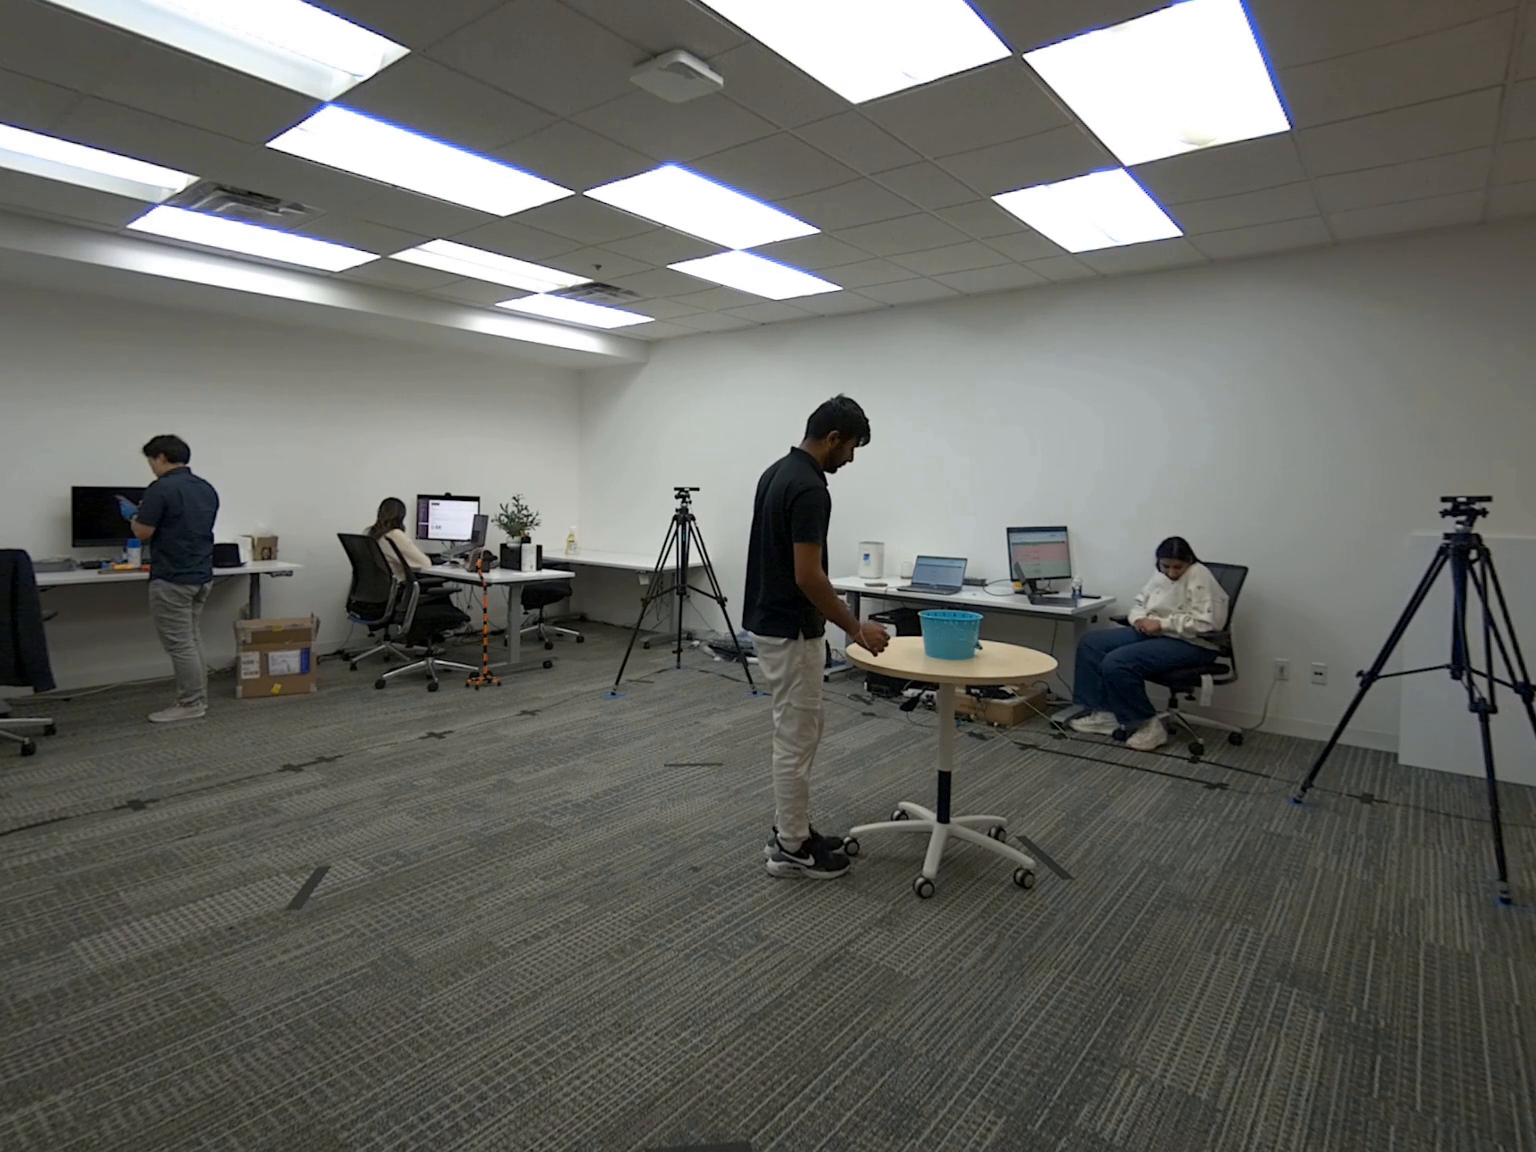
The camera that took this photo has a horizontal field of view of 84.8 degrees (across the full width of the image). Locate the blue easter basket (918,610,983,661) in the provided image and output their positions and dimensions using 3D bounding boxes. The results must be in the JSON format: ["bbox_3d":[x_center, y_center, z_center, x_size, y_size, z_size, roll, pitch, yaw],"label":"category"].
[{"bbox_3d":[0.682,0.220,3.201,0.243,0.155,0.245,-1,5,-2],"label":"blue easter basket"}]
